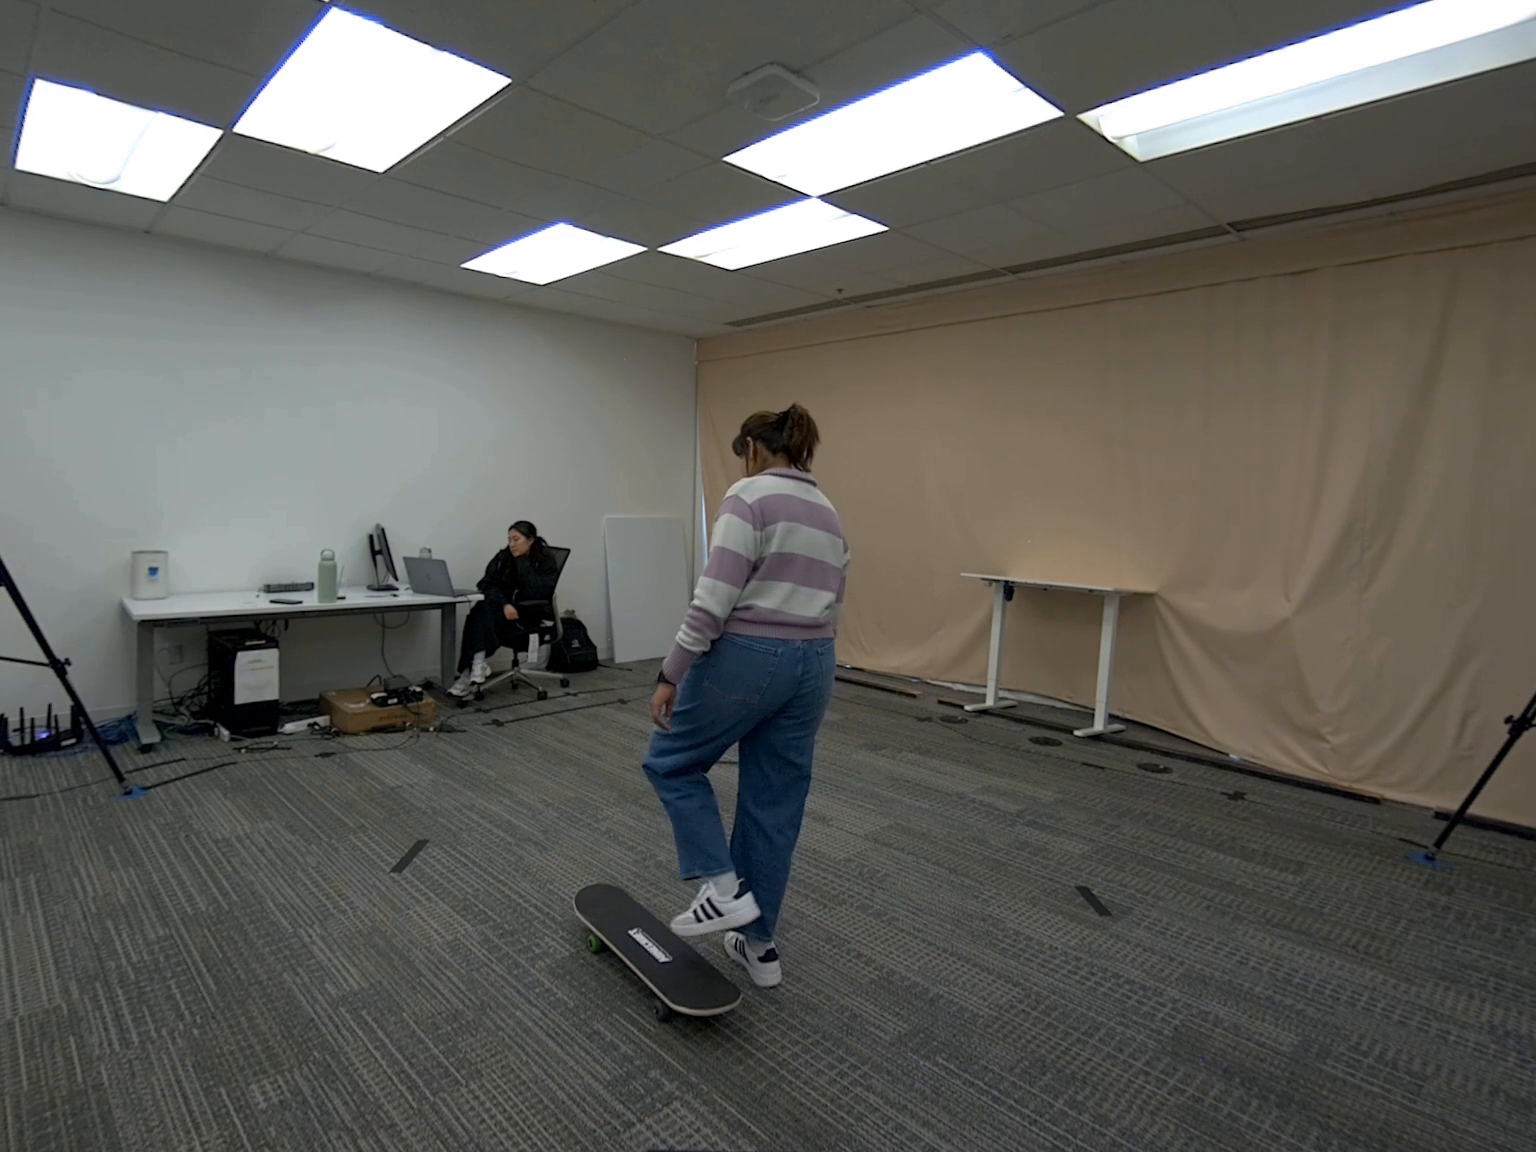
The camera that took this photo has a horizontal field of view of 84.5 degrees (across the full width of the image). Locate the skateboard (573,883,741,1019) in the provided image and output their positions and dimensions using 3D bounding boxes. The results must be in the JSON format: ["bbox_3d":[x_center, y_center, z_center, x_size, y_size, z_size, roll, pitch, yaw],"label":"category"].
[{"bbox_3d":[-0.351,1.103,2.448,0.189,0.110,0.805,-1,6,-37],"label":"skateboard"}]
